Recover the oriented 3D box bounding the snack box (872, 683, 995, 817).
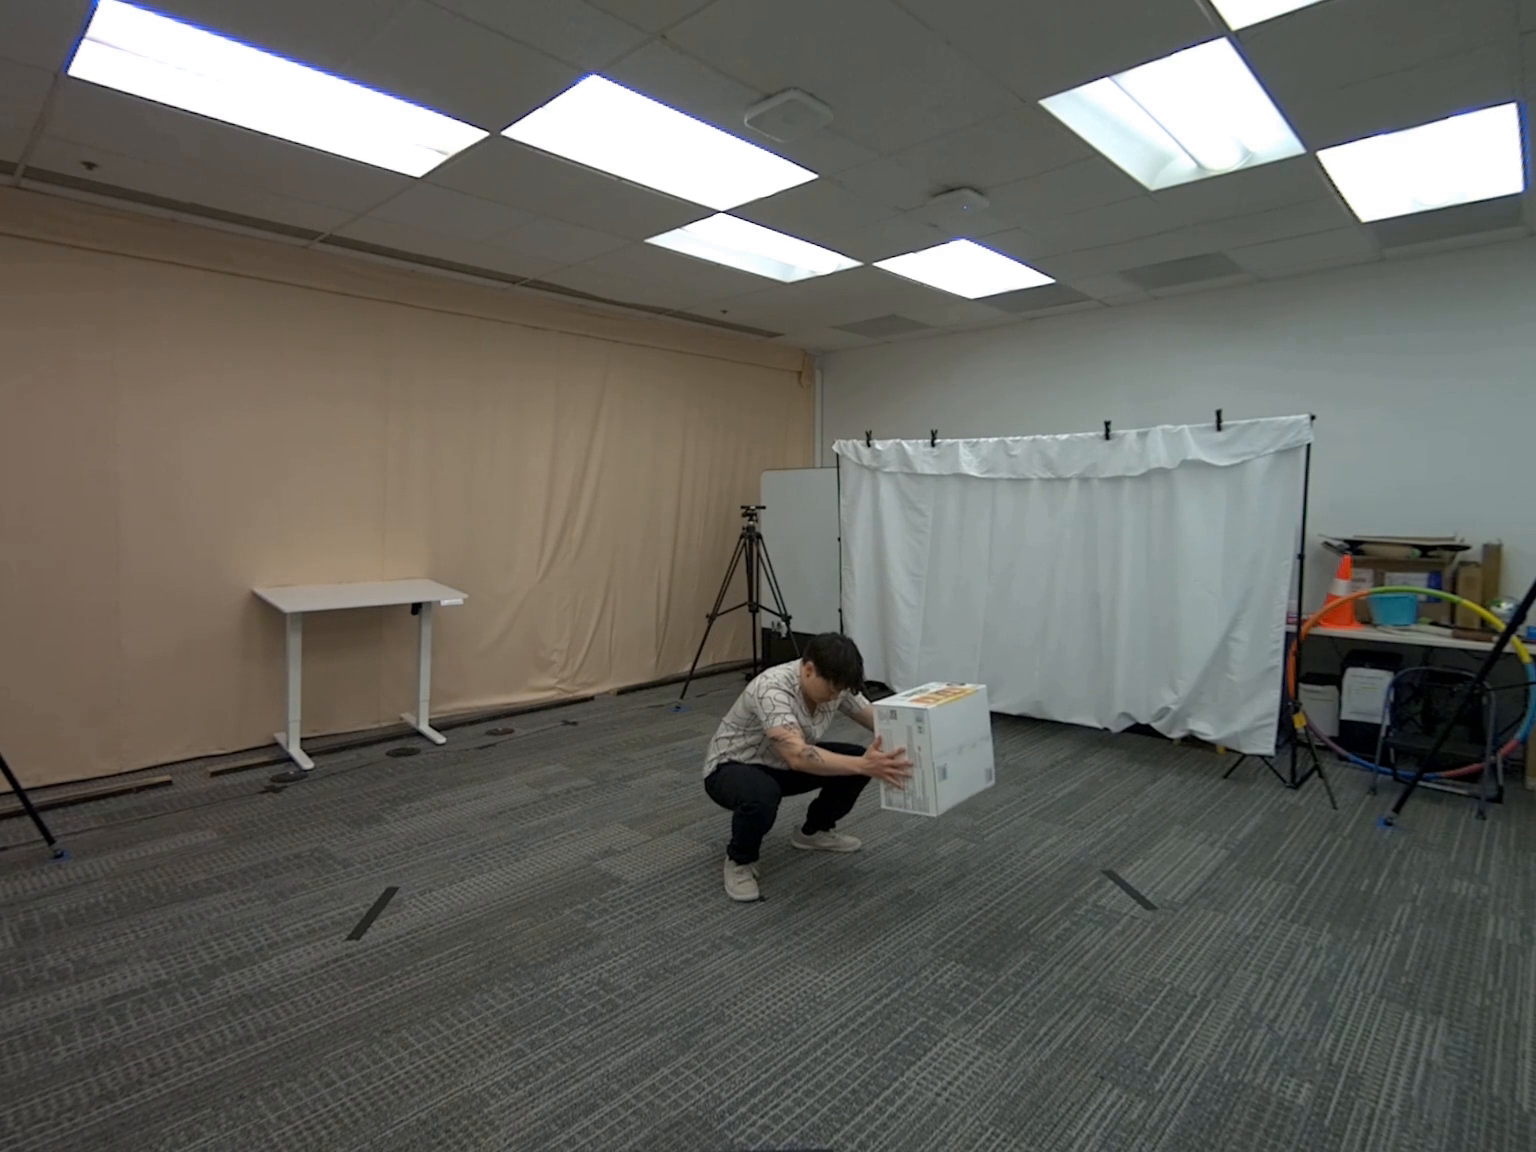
[{"bbox_3d":[0.559,0.557,2.778,0.212,0.340,0.393,-5,1,42],"label":"snack box"}]
